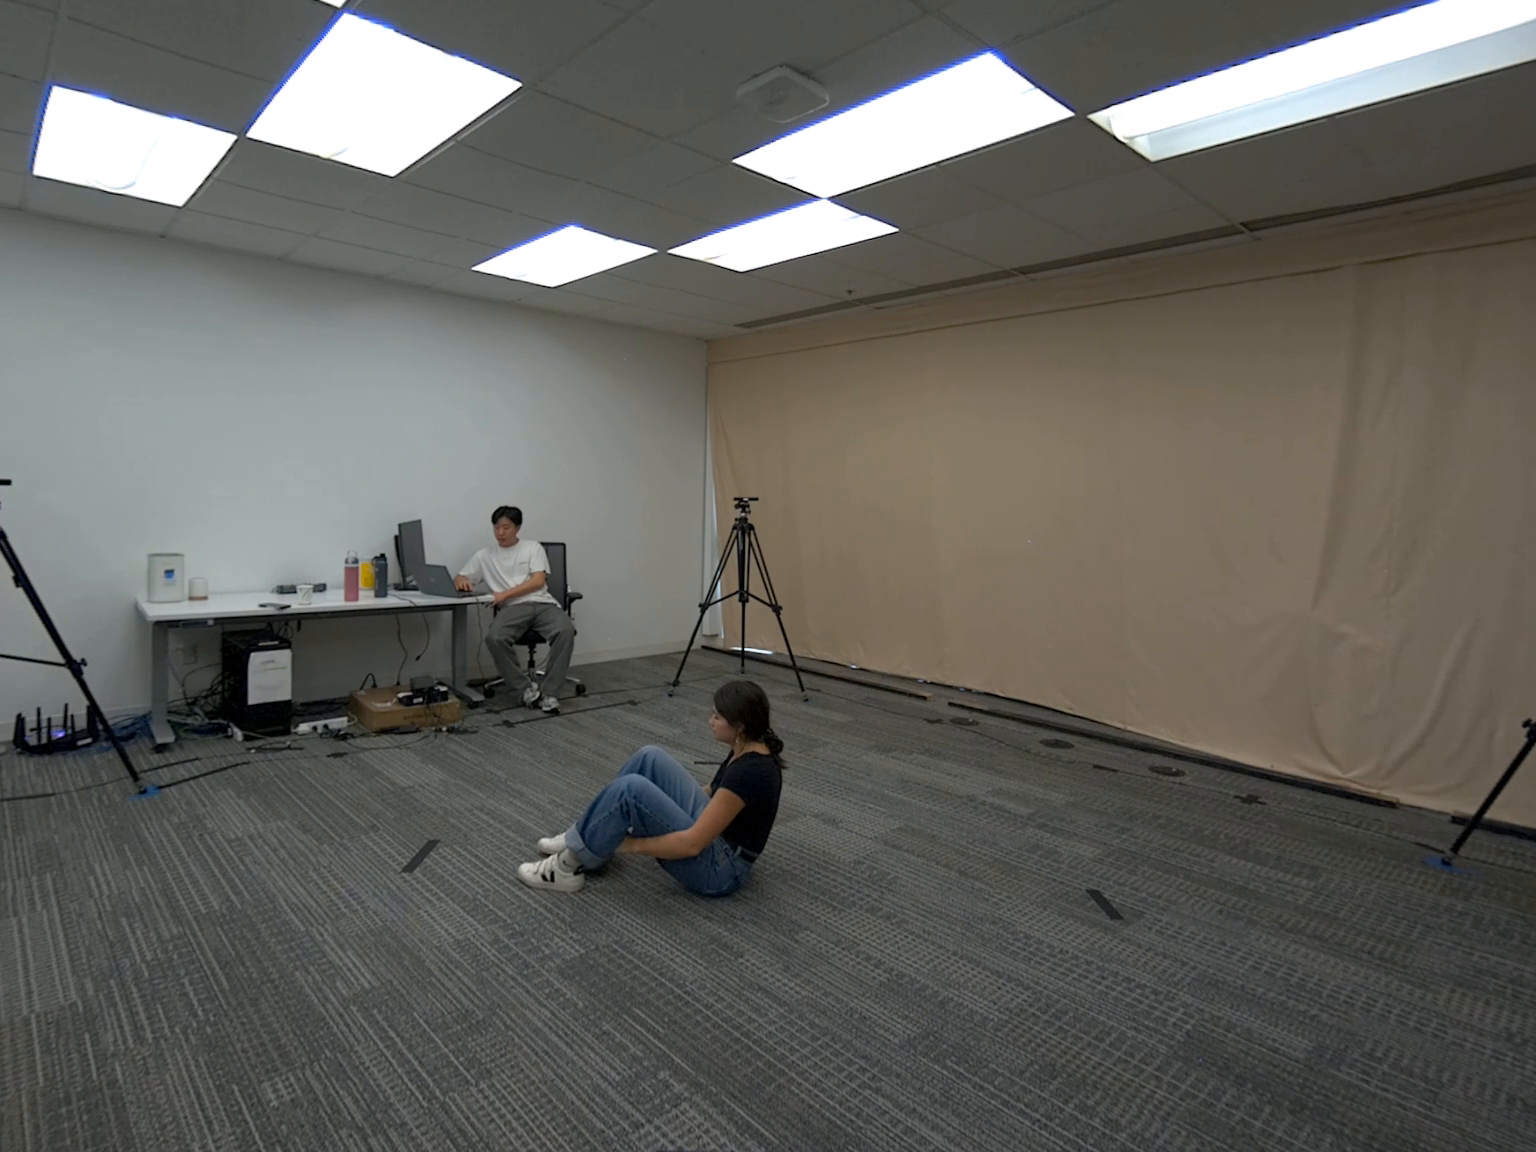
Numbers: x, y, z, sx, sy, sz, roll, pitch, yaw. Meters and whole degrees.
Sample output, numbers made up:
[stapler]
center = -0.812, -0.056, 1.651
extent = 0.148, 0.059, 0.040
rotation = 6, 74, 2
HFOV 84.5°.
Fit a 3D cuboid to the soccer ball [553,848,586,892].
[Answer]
[soccer ball]
center = -0.648, 0.999, 3.122
extent = 0.187, 0.186, 0.188
rotation = 1, 7, -1
